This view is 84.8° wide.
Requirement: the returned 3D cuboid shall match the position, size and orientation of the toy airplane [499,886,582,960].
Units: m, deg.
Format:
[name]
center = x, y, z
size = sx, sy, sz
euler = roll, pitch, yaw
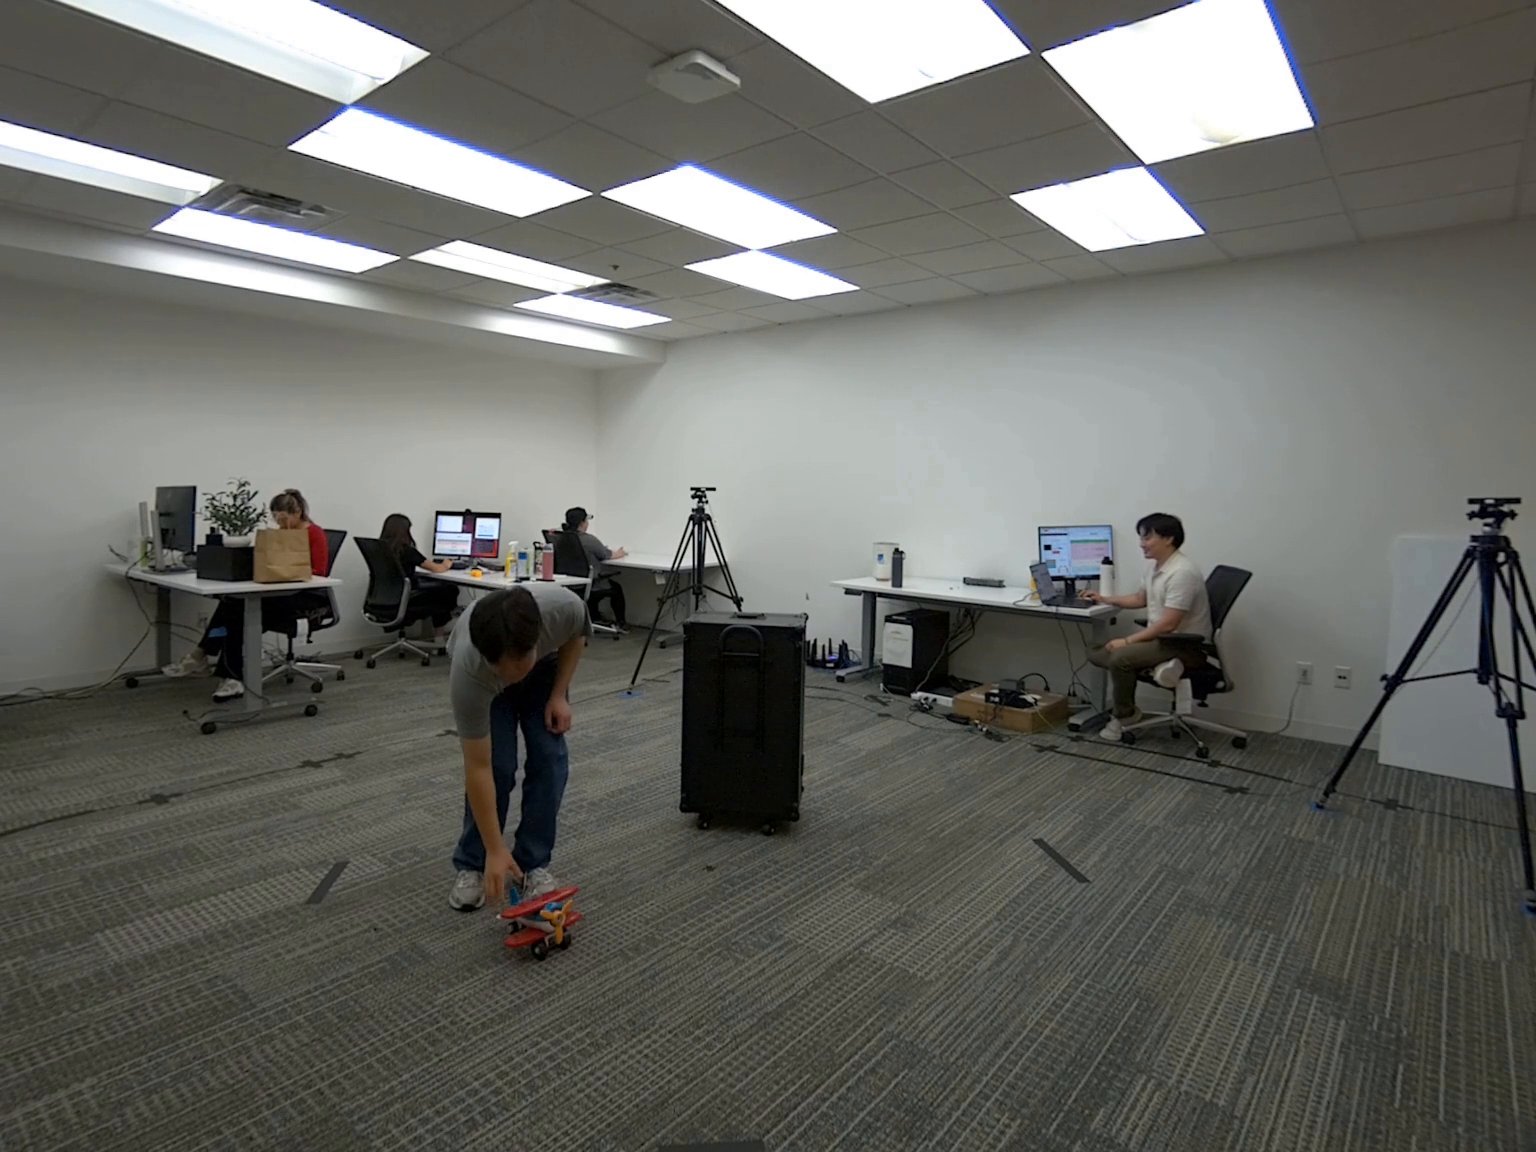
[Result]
[toy airplane]
center = -0.727, 1.039, 2.565
size = 0.263, 0.156, 0.248
euler = 4, 5, 13
